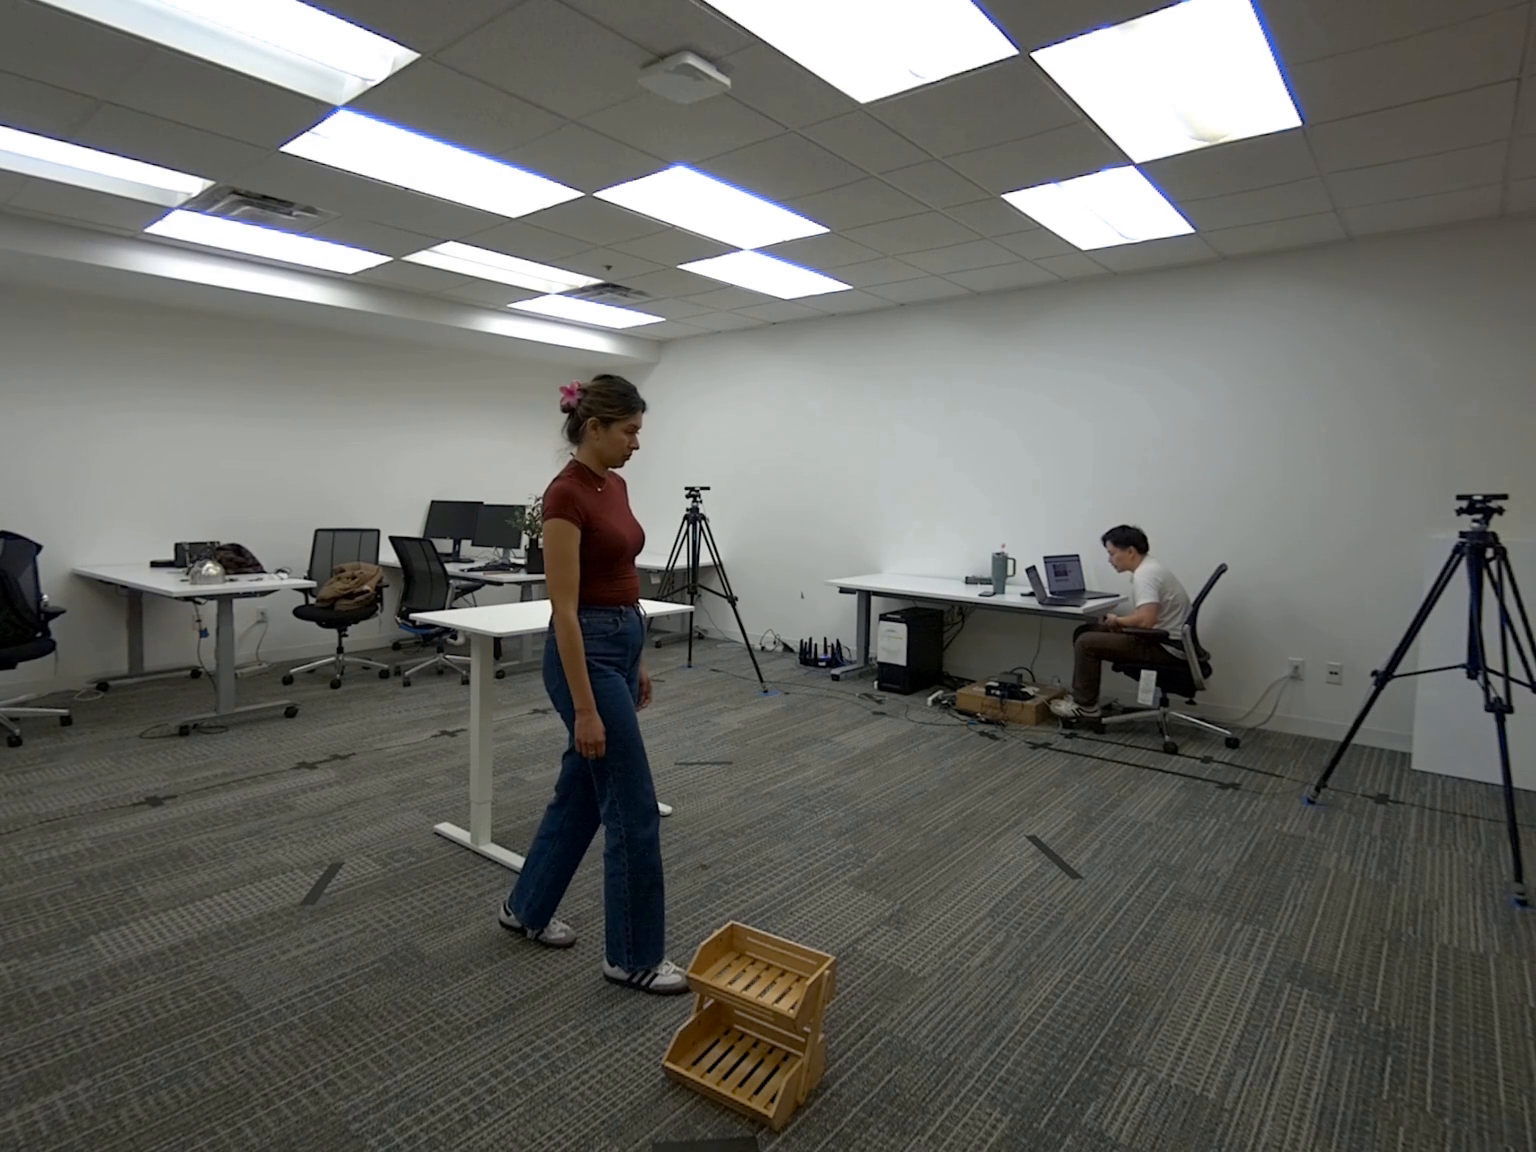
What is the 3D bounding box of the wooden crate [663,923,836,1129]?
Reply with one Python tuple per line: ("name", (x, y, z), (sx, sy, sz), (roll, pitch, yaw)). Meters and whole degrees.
("wooden crate", (-0.048, 1.047, 2.023), (0.334, 0.272, 0.294), (4, 5, 32))
